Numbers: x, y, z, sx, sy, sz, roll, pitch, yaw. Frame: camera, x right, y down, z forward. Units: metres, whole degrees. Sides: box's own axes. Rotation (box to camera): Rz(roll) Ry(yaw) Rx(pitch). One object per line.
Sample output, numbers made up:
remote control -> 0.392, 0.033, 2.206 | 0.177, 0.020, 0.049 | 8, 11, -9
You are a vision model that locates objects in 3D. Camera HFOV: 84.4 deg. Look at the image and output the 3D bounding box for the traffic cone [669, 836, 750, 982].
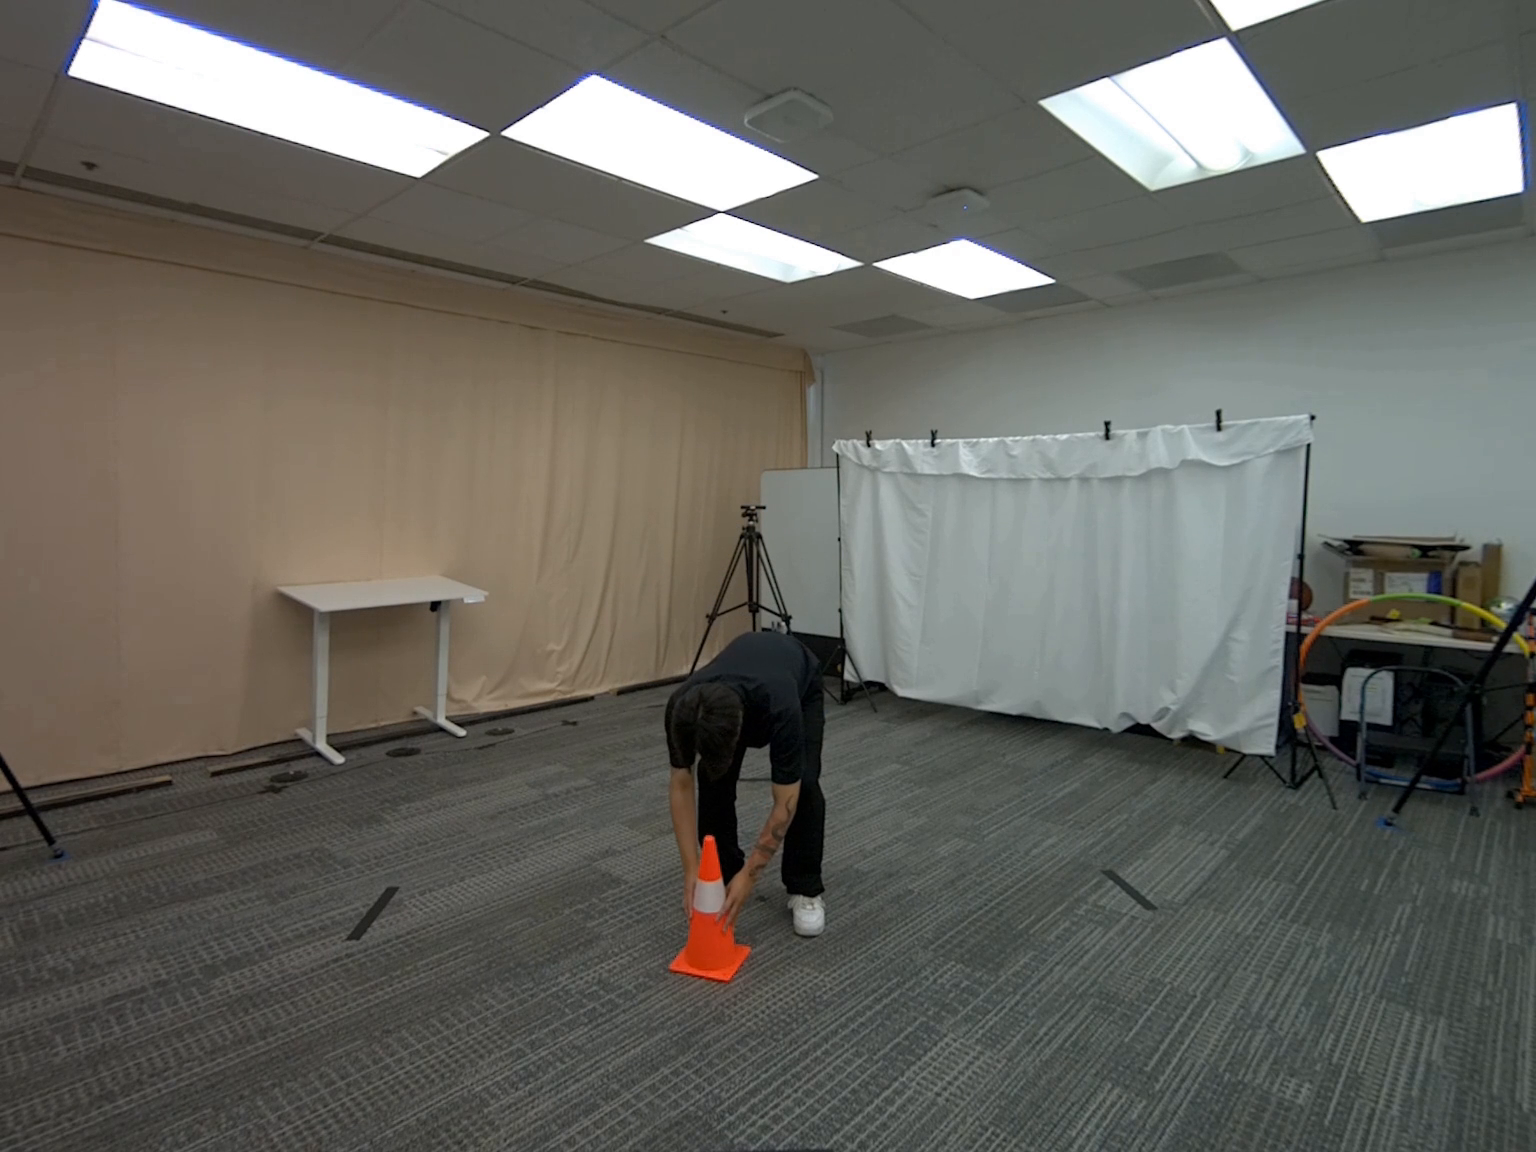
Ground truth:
traffic cone -> -0.179, 0.981, 2.563 | 0.208, 0.382, 0.201 | 1, 5, 22
